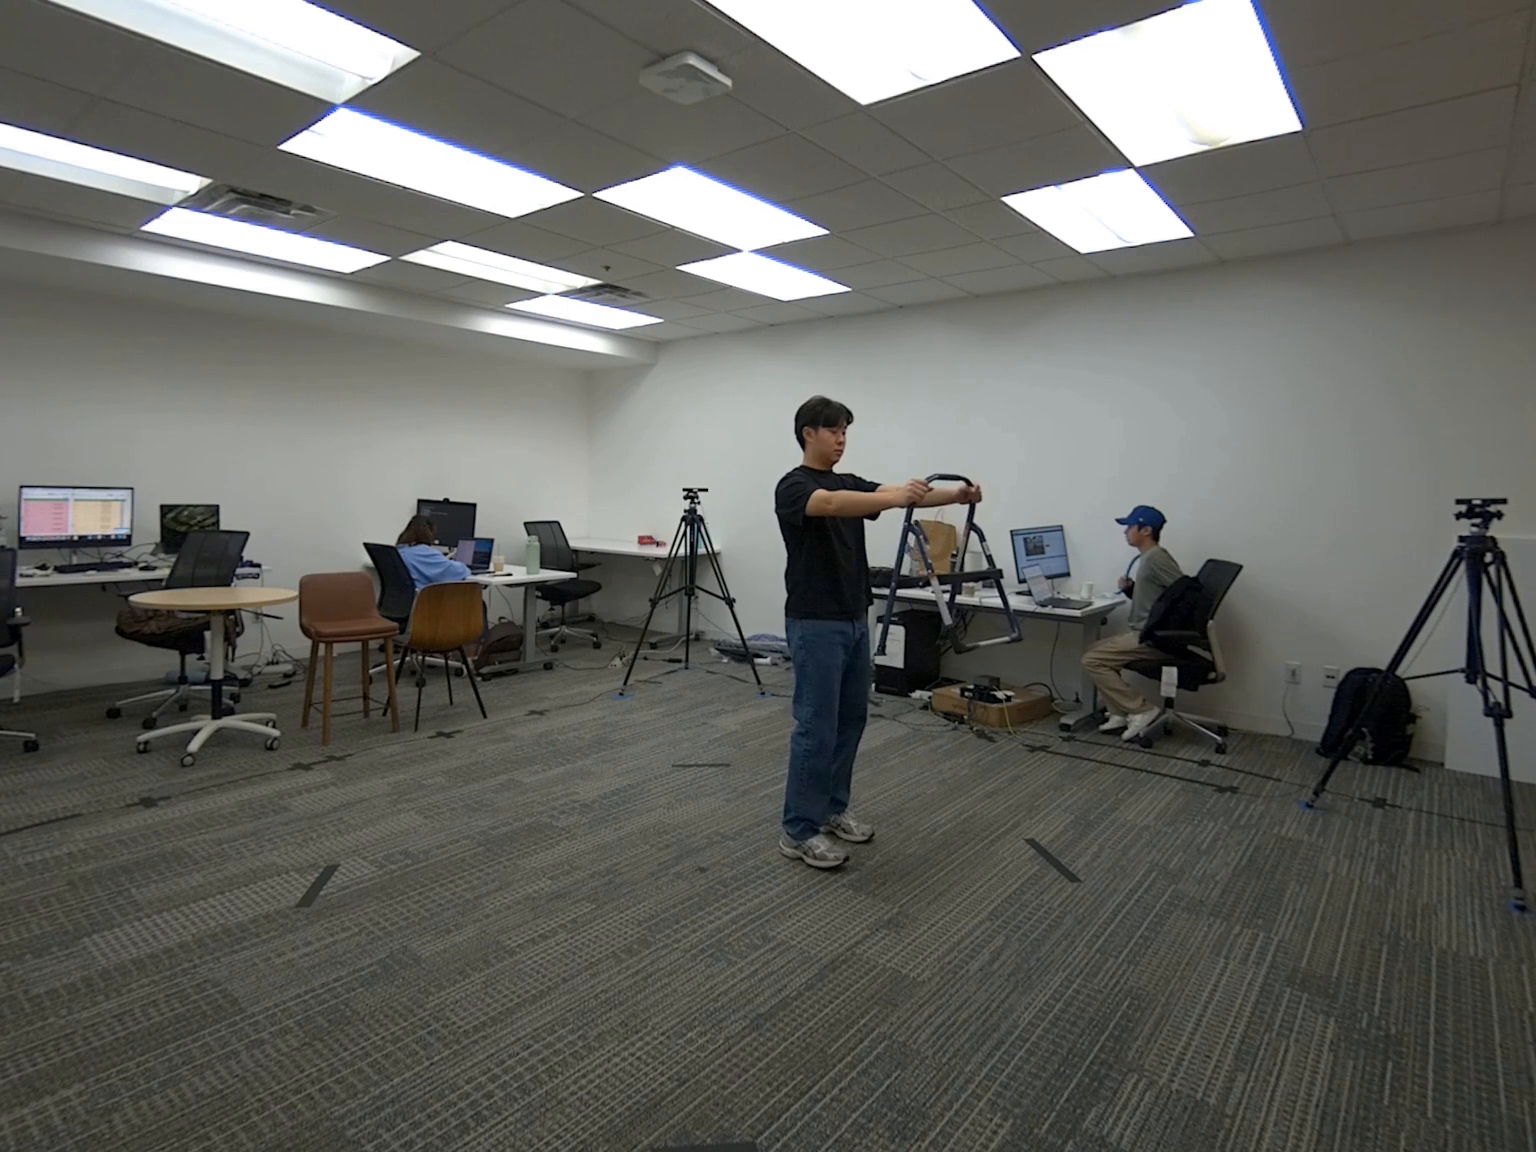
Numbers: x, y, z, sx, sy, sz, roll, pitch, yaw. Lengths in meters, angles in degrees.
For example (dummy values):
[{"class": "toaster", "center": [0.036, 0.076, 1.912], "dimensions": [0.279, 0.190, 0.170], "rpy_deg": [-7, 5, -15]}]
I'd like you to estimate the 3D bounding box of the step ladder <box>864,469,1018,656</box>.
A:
[{"class": "step ladder", "center": [0.589, -0.047, 3.010], "dimensions": [0.417, 0.609, 0.359], "rpy_deg": [-2, -5, -44]}]
